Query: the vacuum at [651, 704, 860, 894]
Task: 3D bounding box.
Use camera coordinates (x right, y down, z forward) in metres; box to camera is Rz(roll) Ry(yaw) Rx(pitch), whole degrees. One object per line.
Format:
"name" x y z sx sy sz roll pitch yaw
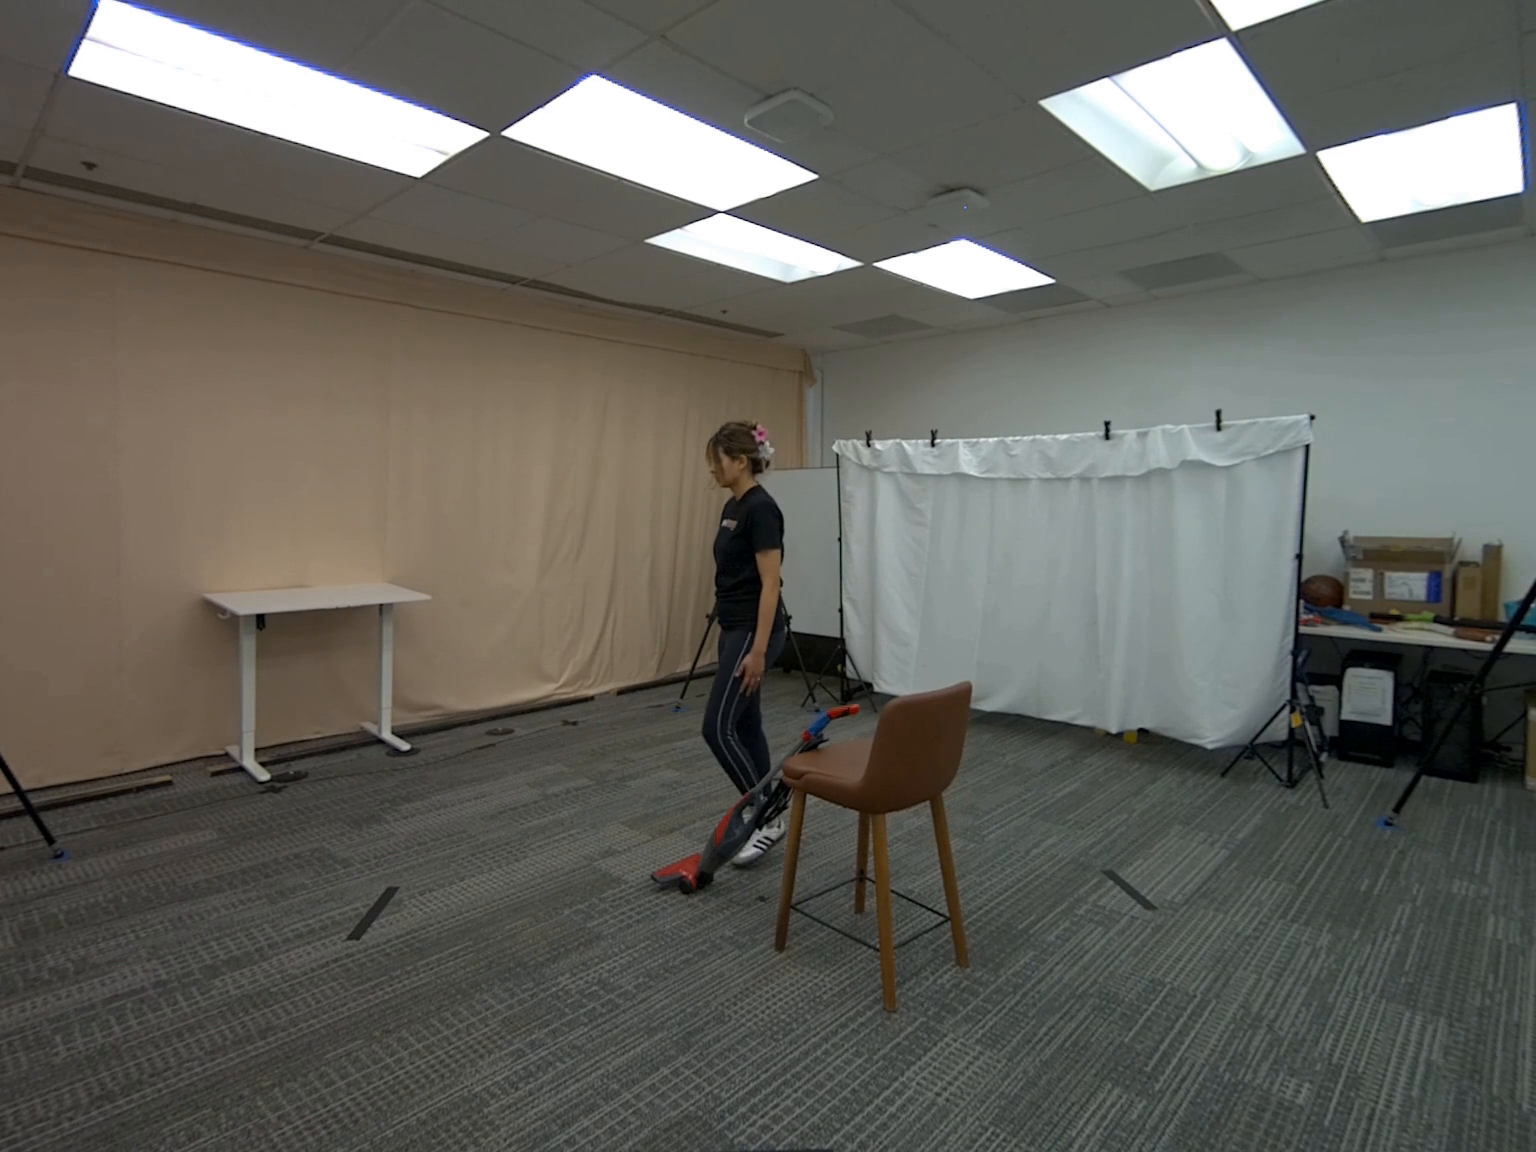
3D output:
"vacuum" -0.023 0.762 2.842 0.245 0.147 1.053 -8 -37 -51
